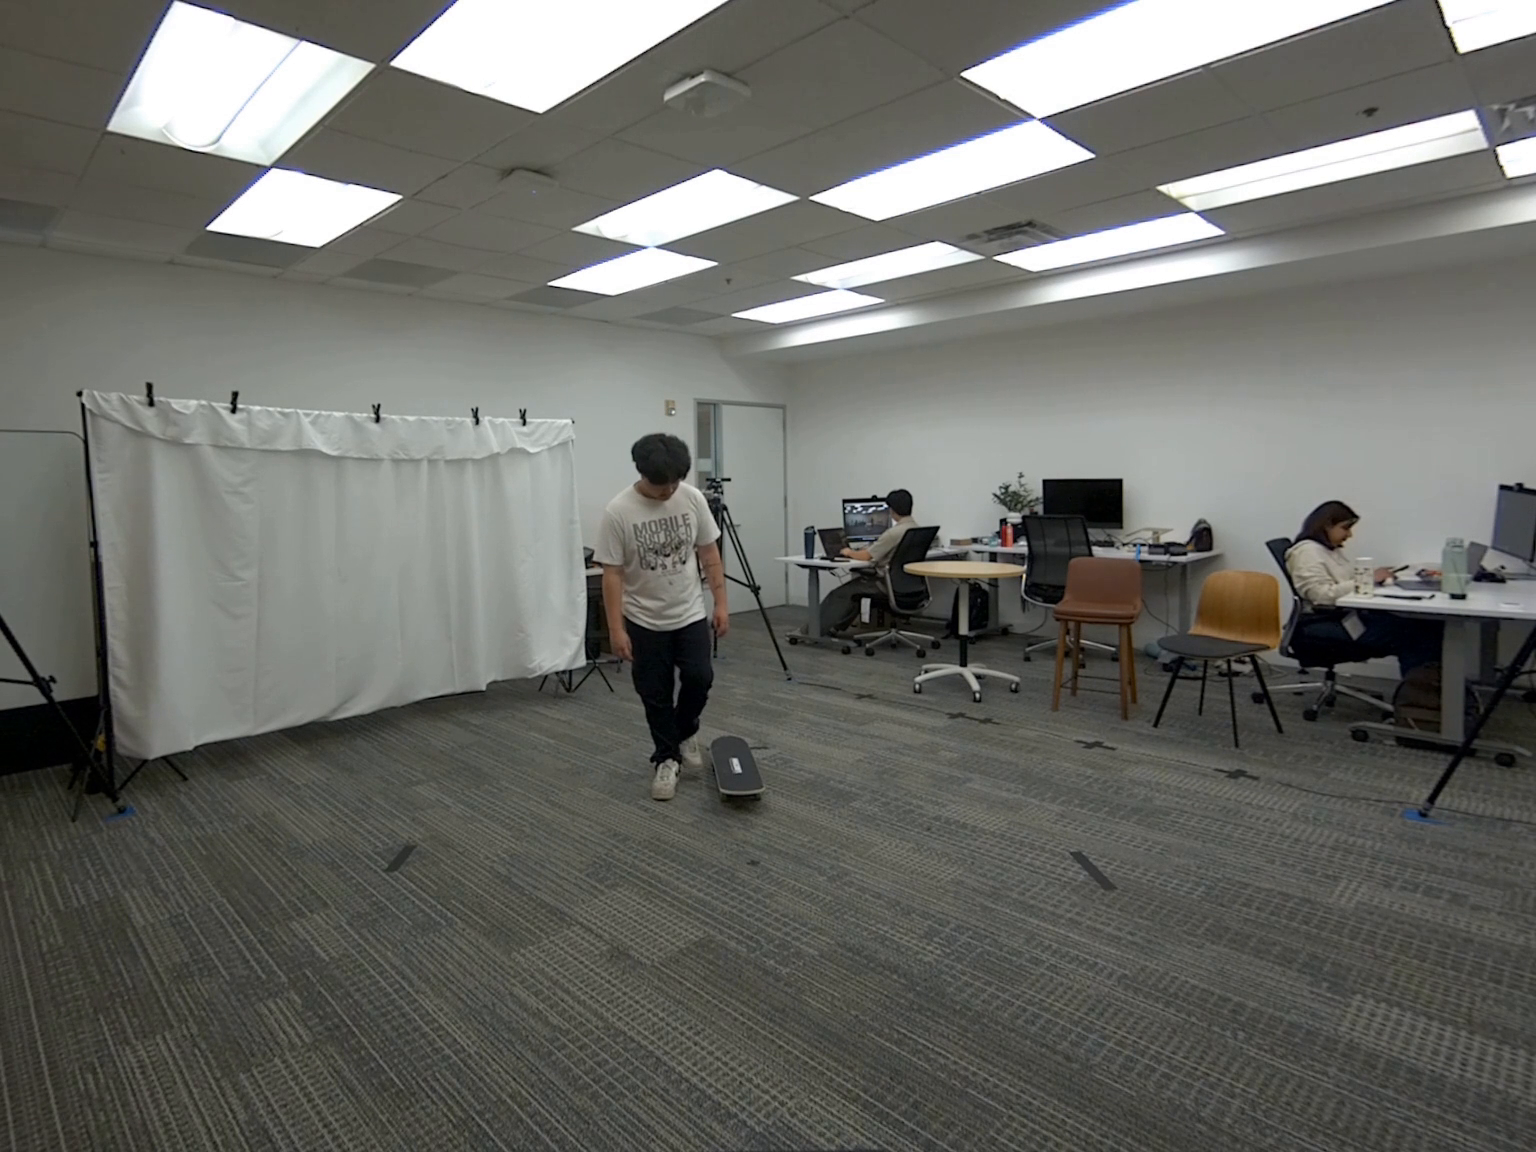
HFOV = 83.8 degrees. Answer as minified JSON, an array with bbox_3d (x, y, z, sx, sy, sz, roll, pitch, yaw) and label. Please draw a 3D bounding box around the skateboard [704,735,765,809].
[{"bbox_3d":[-0.145,0.896,3.904,0.192,0.110,0.794,-2,6,-8],"label":"skateboard"}]
